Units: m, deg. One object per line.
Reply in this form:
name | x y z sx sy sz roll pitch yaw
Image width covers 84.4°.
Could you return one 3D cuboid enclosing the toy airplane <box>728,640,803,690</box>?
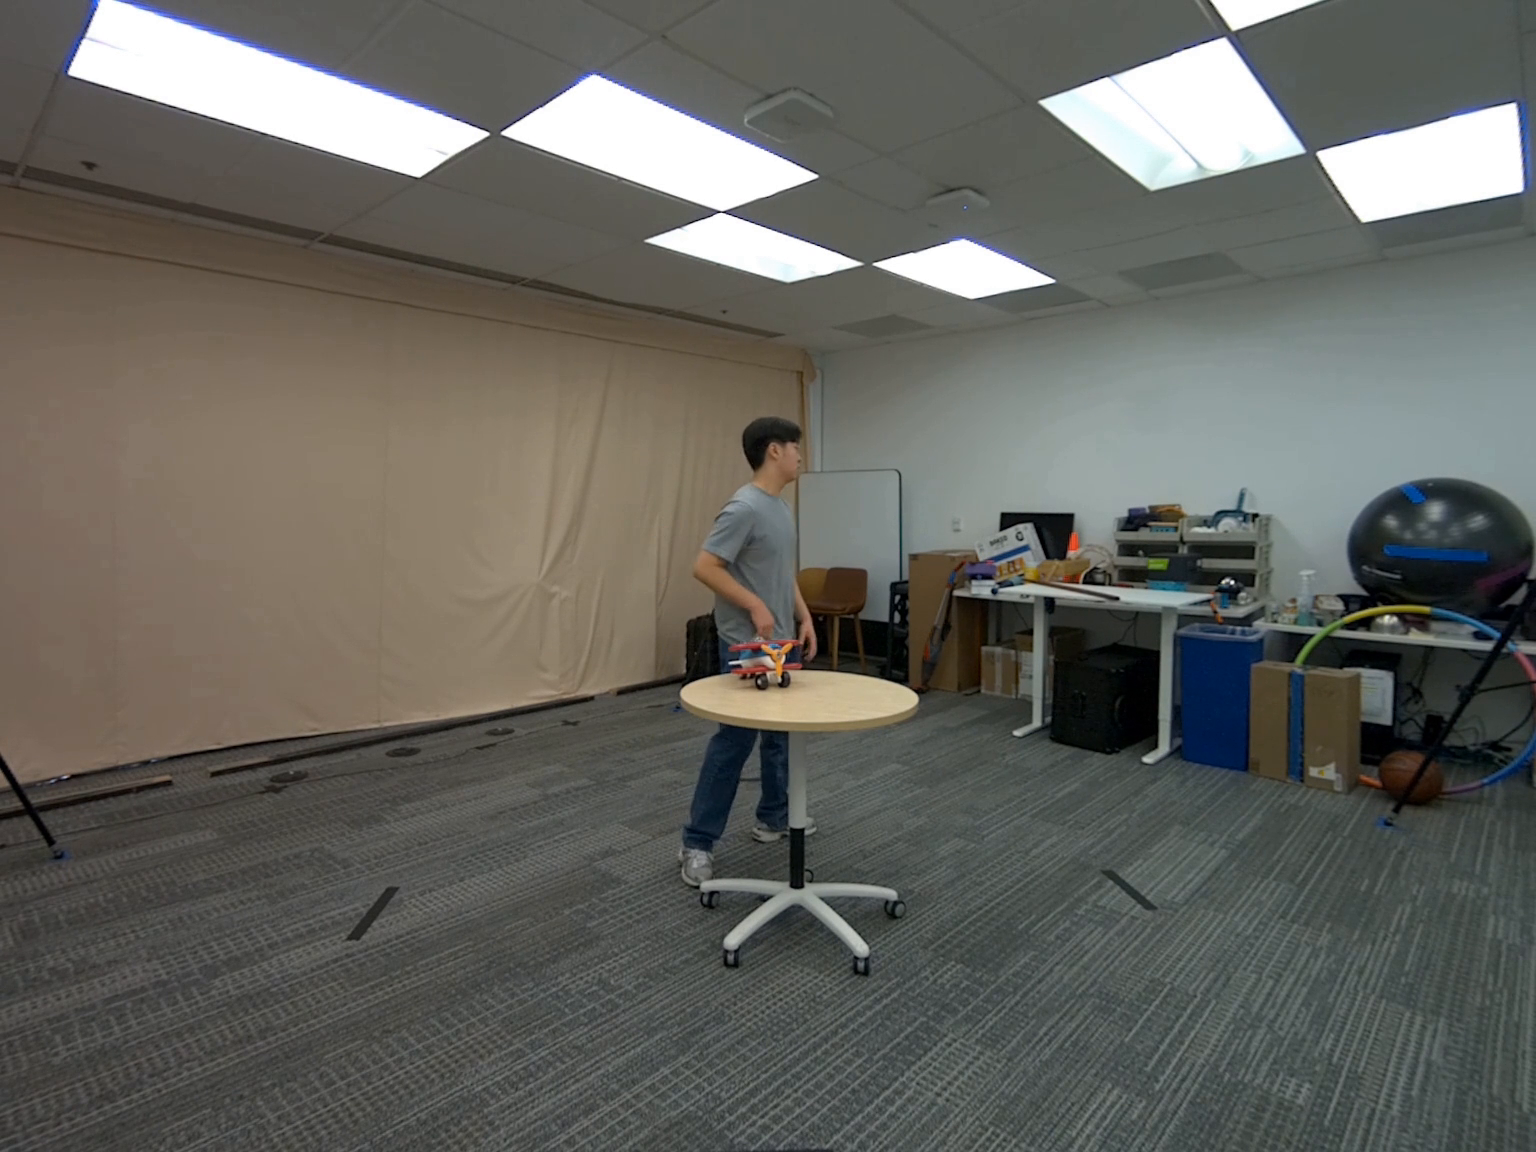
toy airplane | -0.034 0.291 2.867 0.267 0.156 0.244 4 5 34
